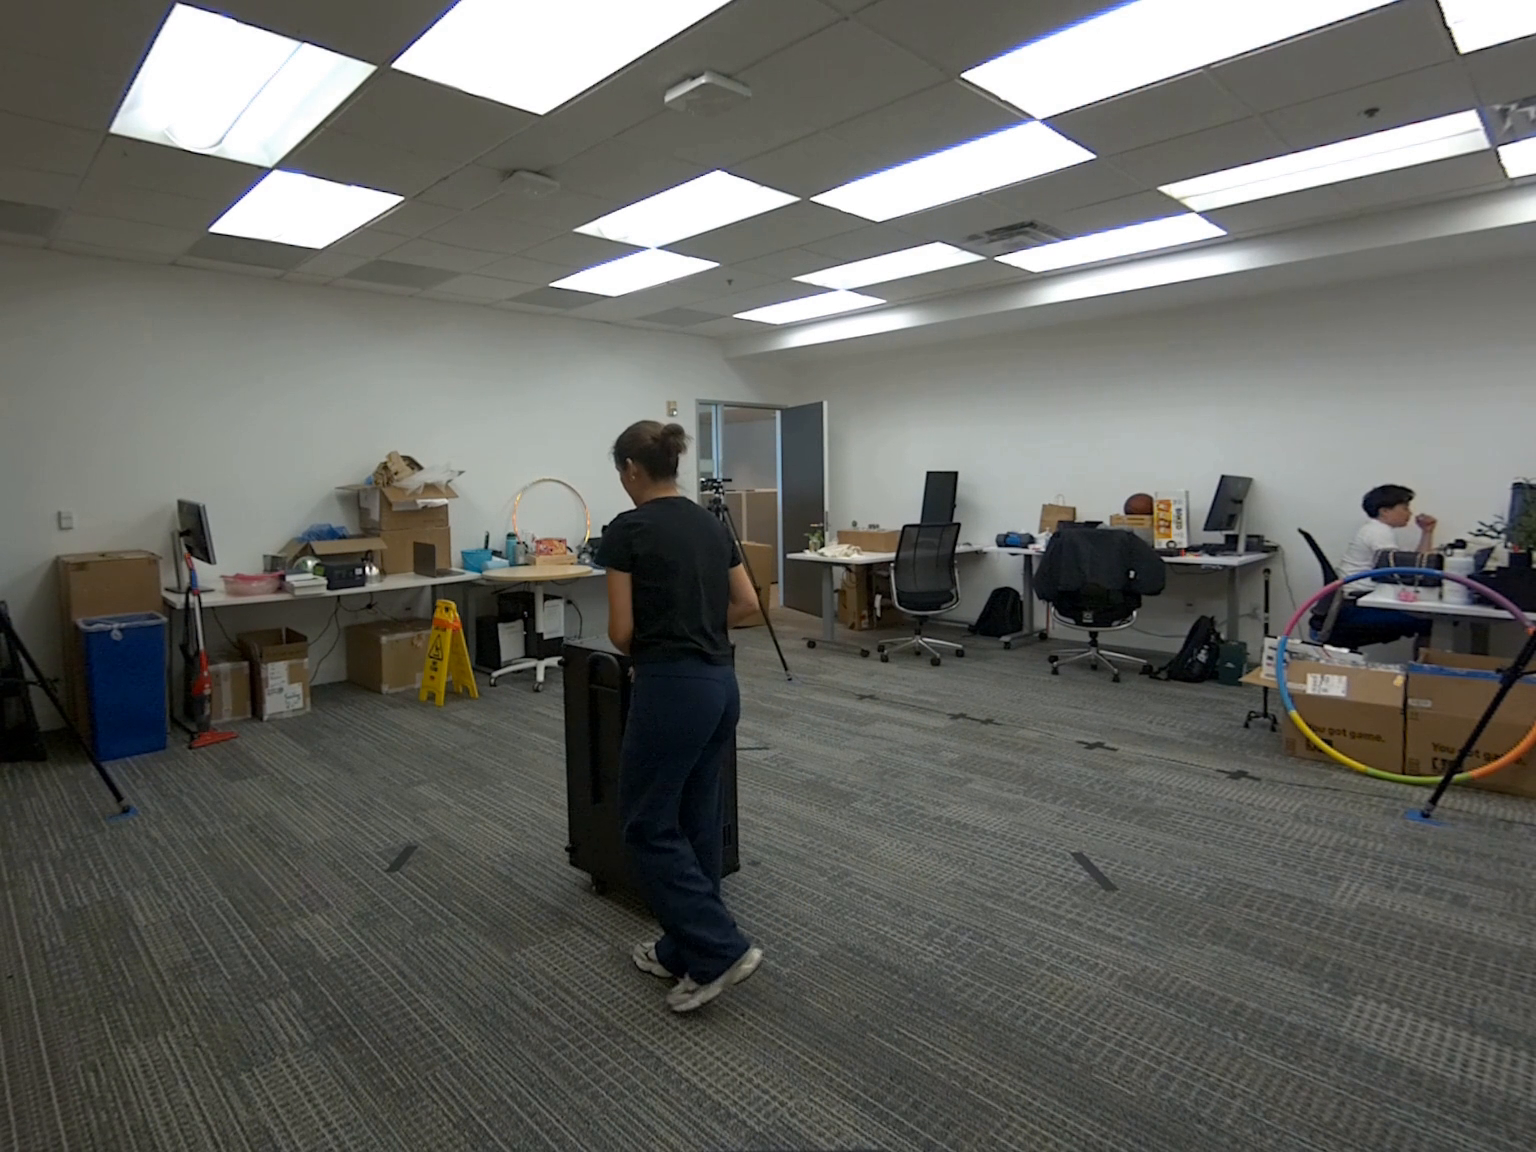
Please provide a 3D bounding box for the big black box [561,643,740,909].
[{"bbox_3d":[-0.403,0.651,2.910,0.537,0.857,0.386,3,7,40],"label":"big black box"}]
